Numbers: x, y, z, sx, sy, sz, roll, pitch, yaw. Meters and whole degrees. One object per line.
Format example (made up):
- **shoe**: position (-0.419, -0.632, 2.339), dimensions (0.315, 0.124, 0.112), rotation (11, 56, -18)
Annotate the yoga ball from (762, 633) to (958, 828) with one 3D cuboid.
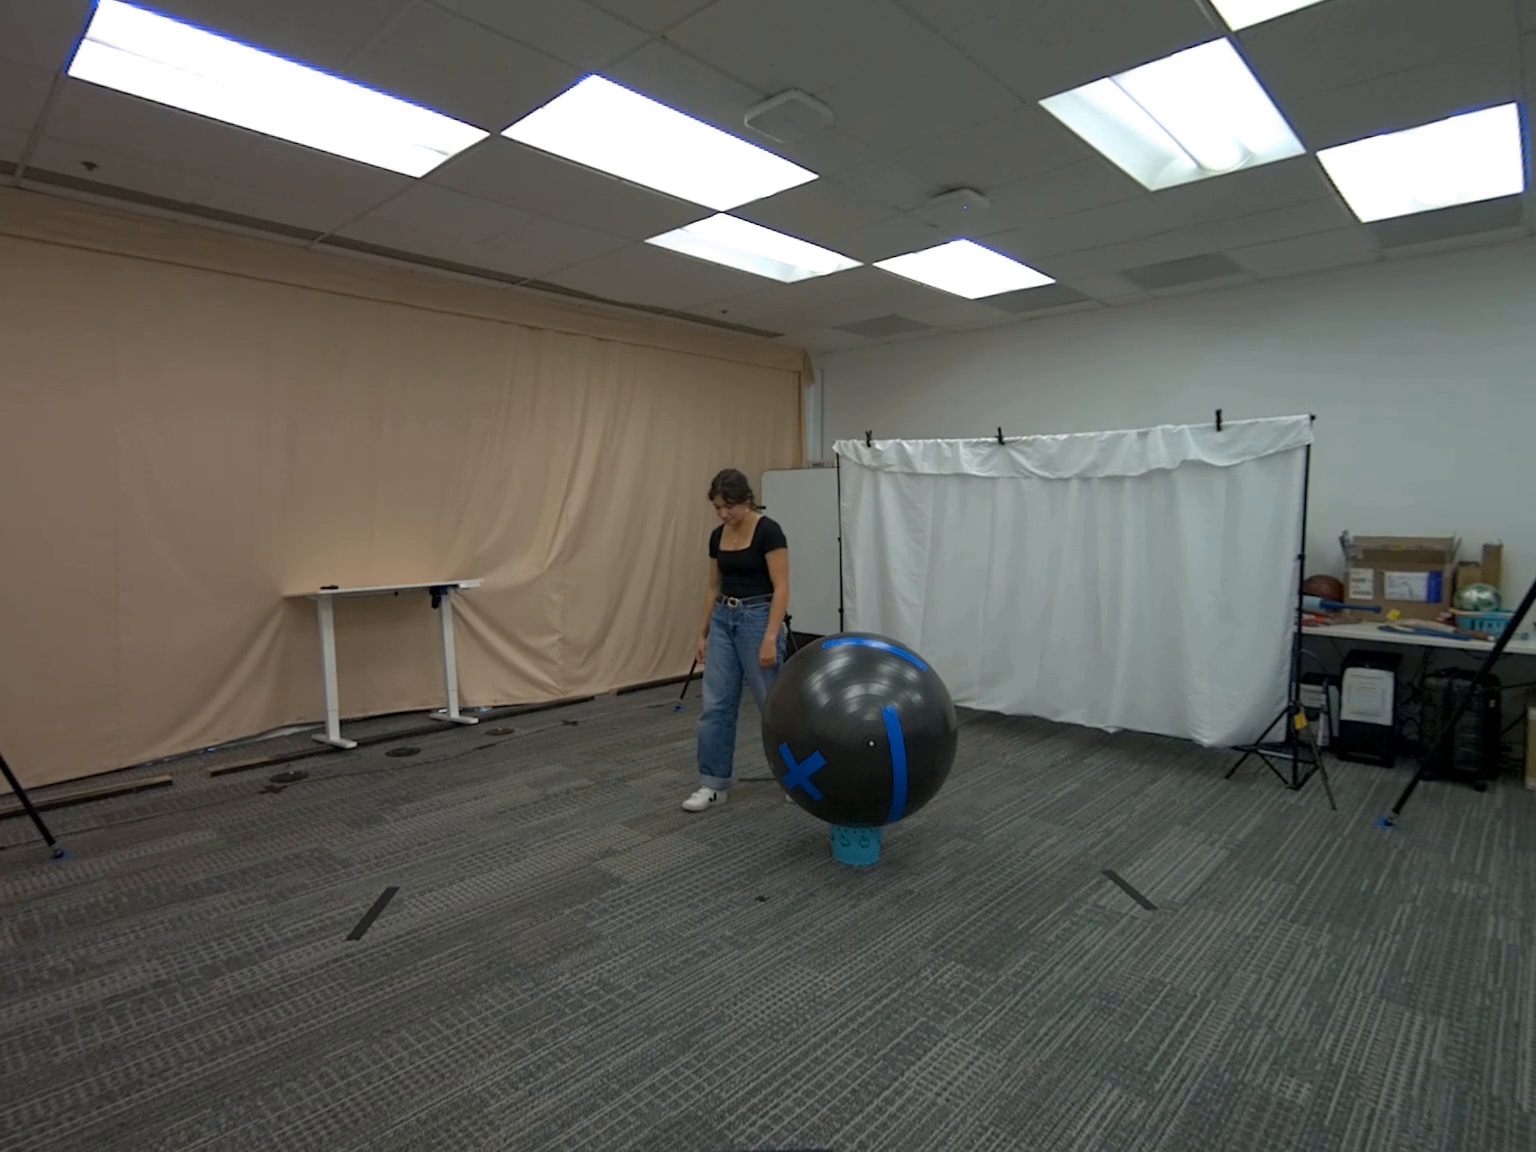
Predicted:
- **yoga ball**: position (0.357, 0.600, 3.335), dimensions (0.757, 0.756, 0.760), rotation (0, 4, -2)
